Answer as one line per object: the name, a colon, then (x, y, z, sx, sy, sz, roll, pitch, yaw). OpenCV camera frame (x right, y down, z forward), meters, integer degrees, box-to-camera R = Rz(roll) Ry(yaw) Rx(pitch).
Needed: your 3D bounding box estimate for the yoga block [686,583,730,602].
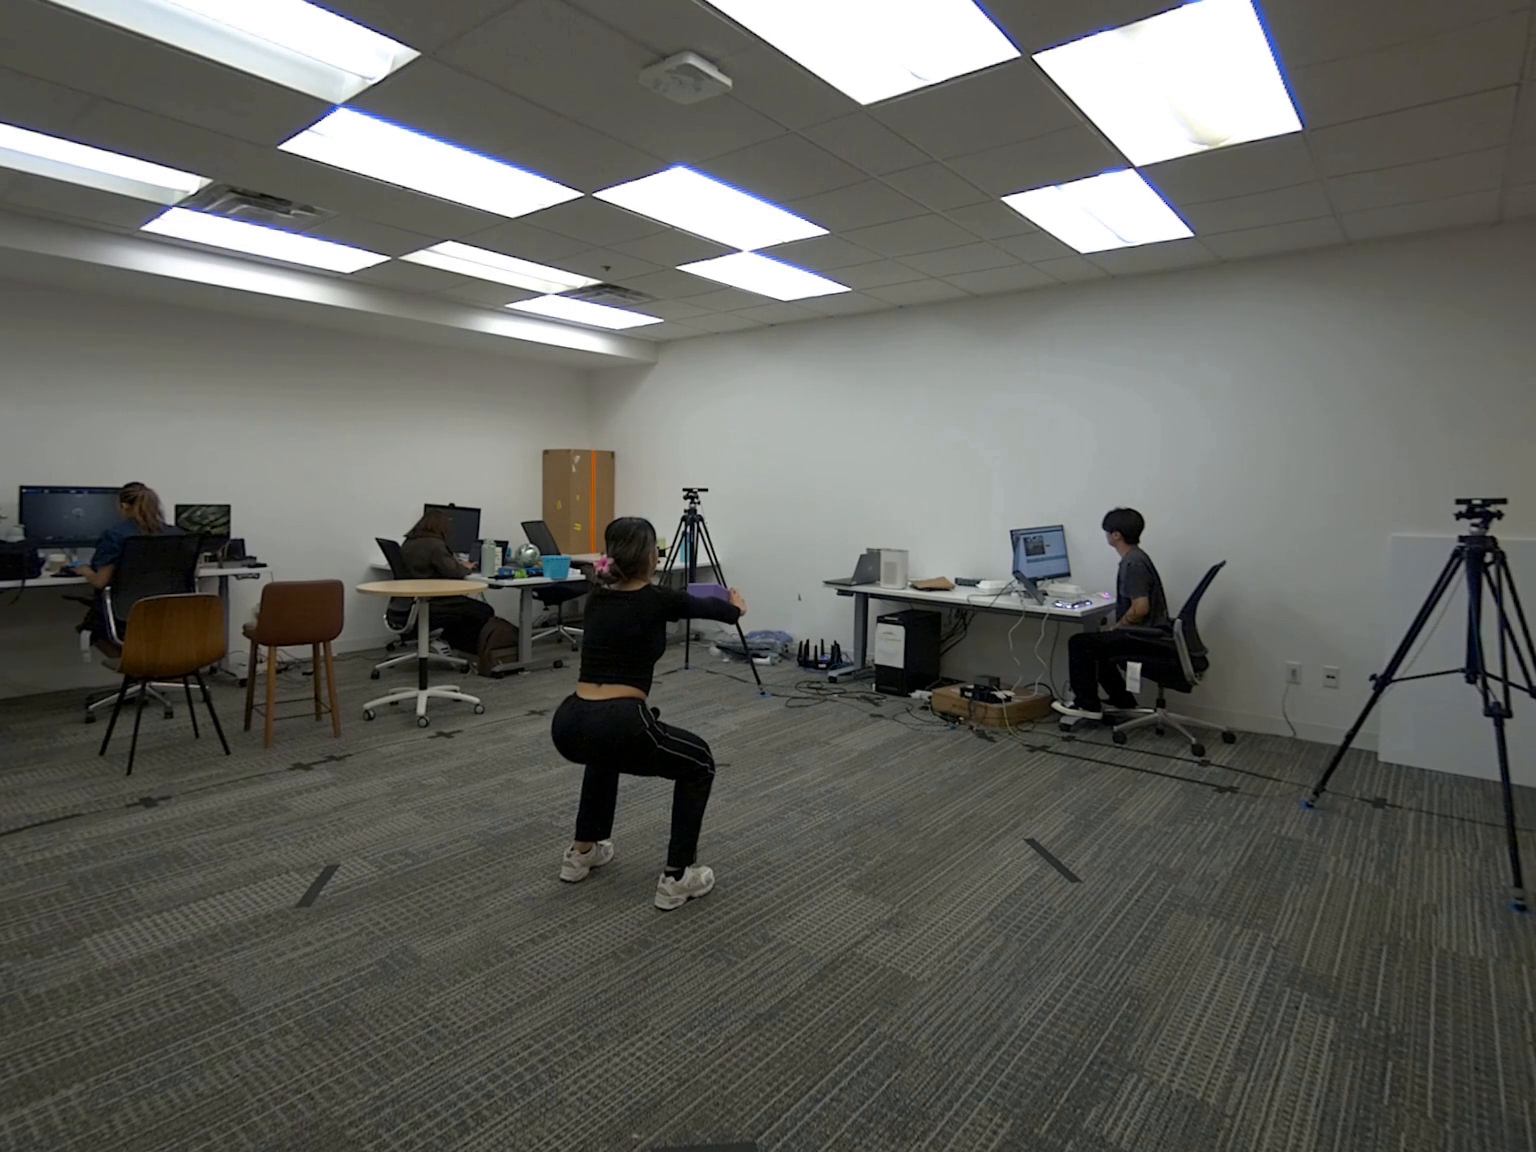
yoga block: (-0.223, 0.087, 3.494, 0.153, 0.077, 0.220, 0, -18, 28)
